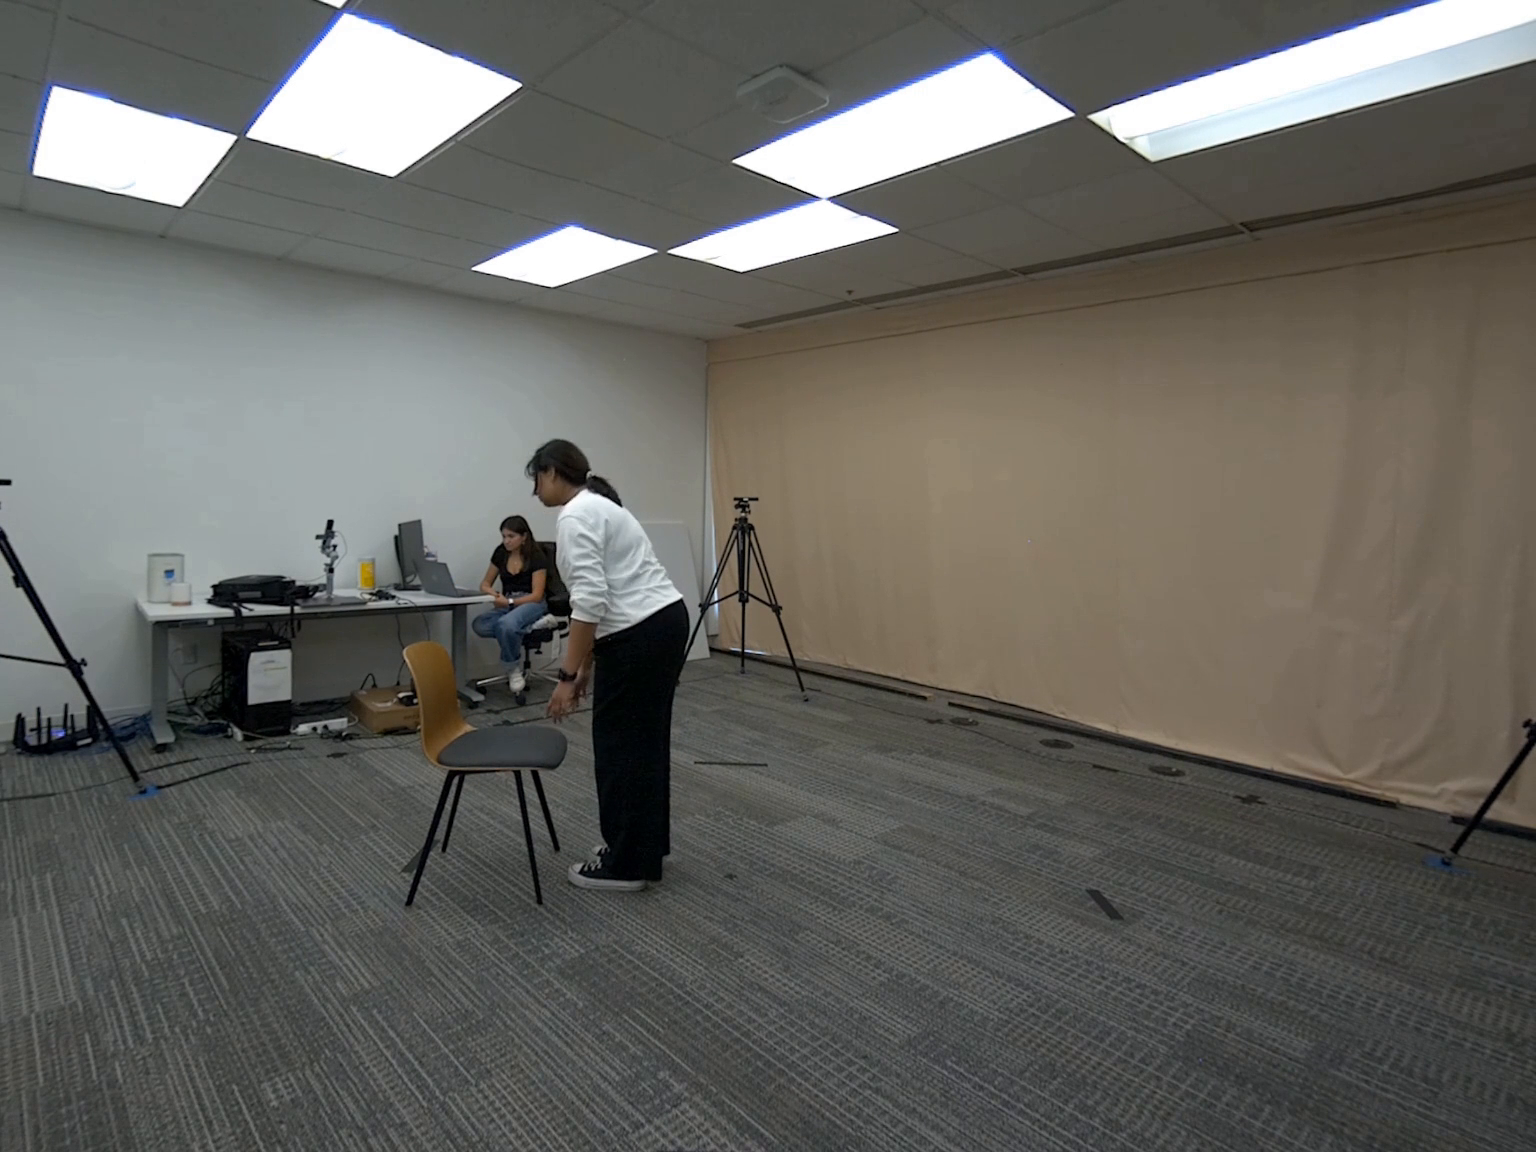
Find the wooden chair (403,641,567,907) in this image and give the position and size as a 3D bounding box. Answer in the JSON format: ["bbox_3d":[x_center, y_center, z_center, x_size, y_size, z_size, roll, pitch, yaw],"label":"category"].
[{"bbox_3d":[-0.996,0.666,3.032,0.521,0.875,0.481,-3,3,-5],"label":"wooden chair"}]
